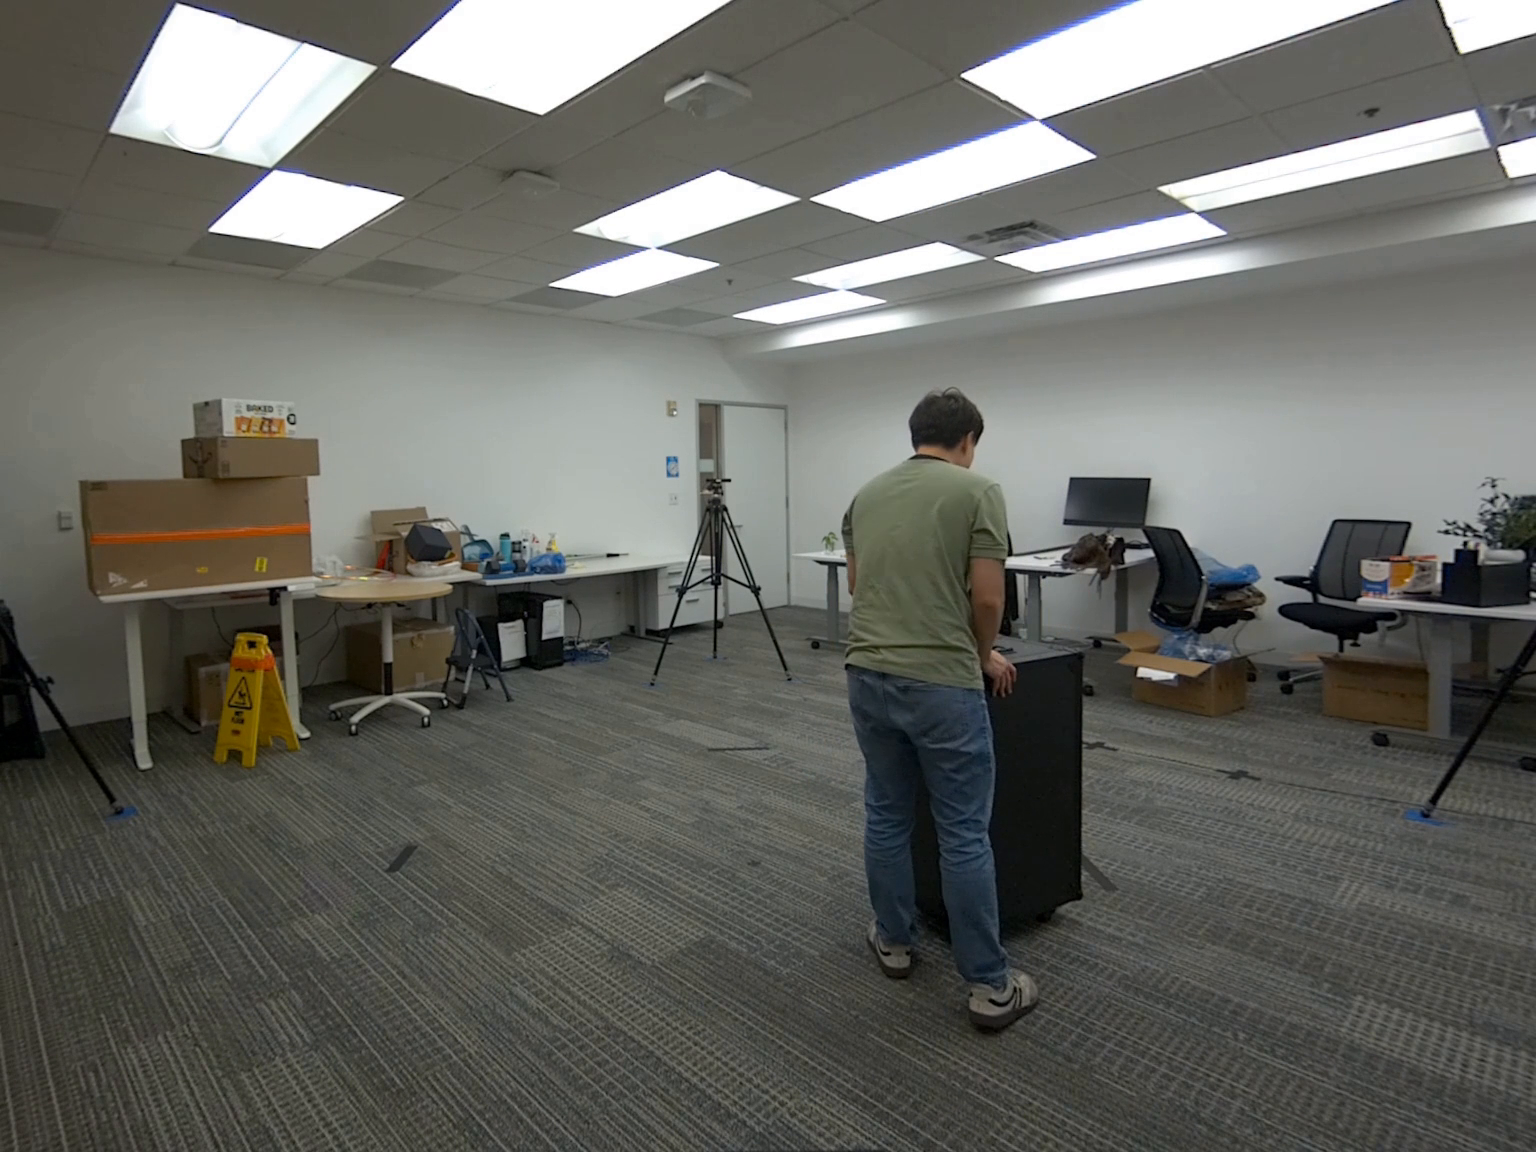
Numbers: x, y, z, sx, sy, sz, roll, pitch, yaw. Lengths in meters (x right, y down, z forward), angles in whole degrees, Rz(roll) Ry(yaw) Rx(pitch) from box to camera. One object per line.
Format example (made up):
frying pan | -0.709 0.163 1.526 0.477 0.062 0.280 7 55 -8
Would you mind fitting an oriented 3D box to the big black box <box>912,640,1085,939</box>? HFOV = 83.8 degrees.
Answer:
big black box | 0.679 0.656 2.691 0.509 0.859 0.406 -4 3 -30
